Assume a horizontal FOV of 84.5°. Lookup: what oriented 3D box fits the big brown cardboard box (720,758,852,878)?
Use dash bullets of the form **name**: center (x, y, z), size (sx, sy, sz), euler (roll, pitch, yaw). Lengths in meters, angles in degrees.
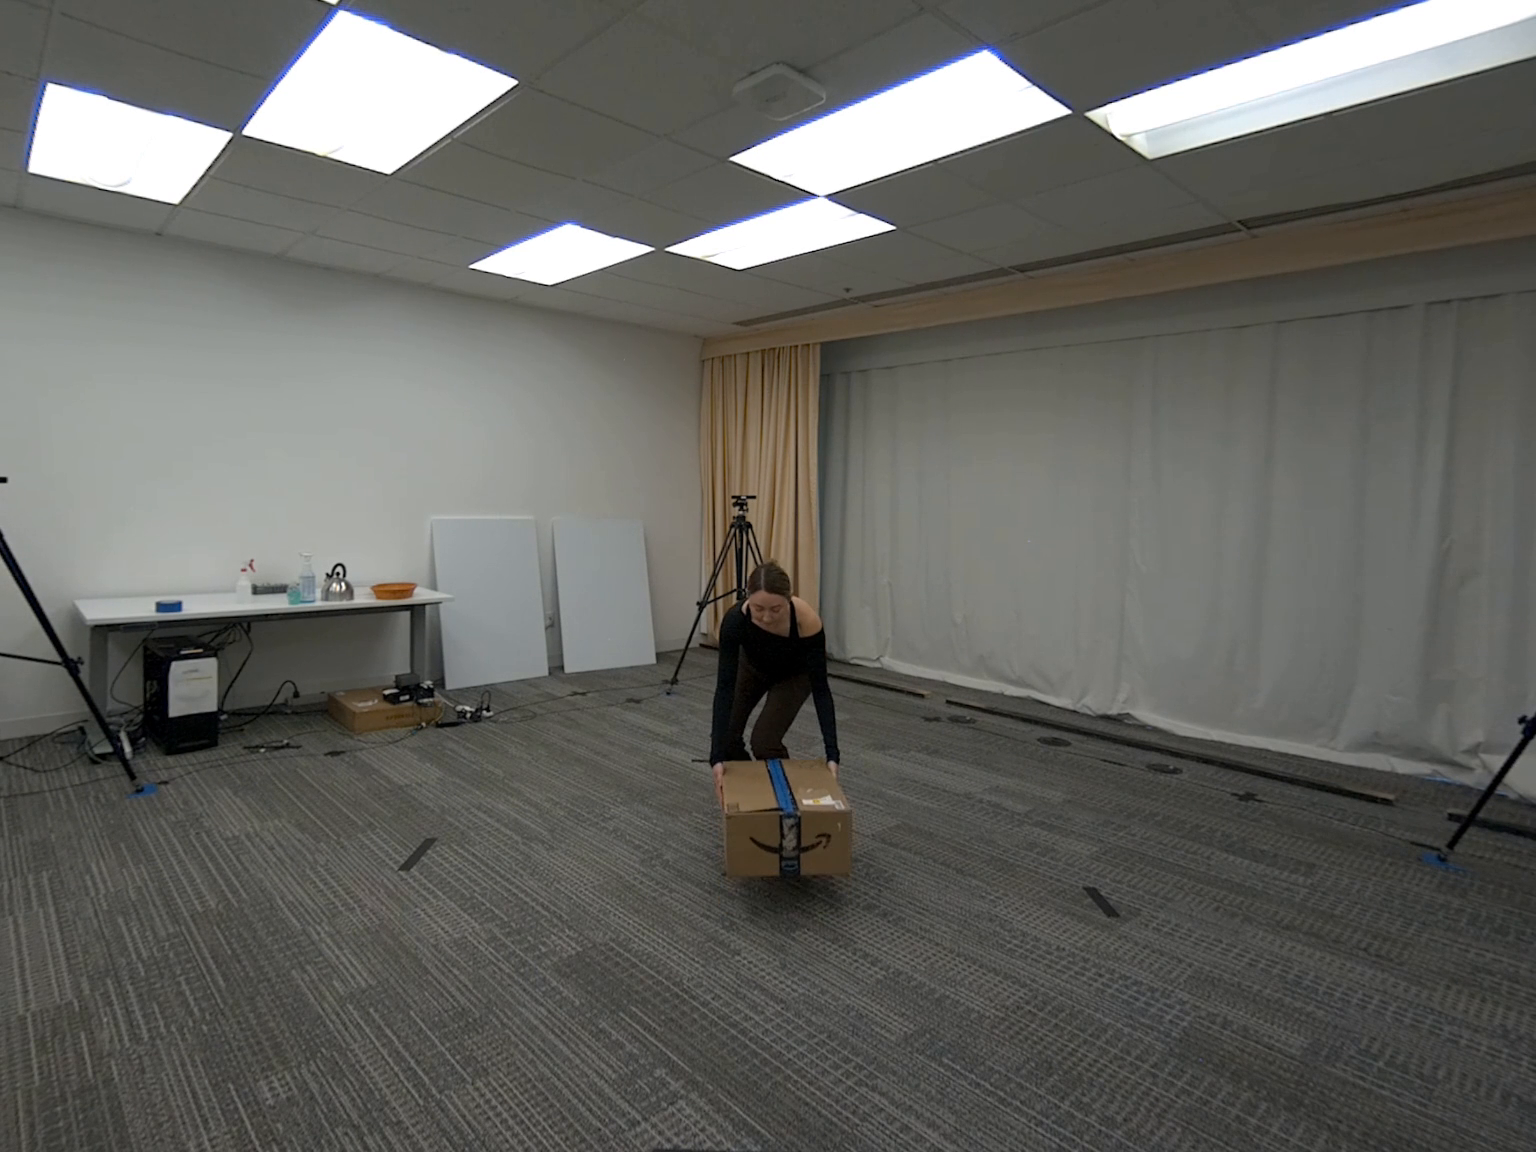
- **big brown cardboard box**: center (0.036, 0.844, 3.012), size (0.416, 0.232, 0.591), euler (-2, 4, -4)
